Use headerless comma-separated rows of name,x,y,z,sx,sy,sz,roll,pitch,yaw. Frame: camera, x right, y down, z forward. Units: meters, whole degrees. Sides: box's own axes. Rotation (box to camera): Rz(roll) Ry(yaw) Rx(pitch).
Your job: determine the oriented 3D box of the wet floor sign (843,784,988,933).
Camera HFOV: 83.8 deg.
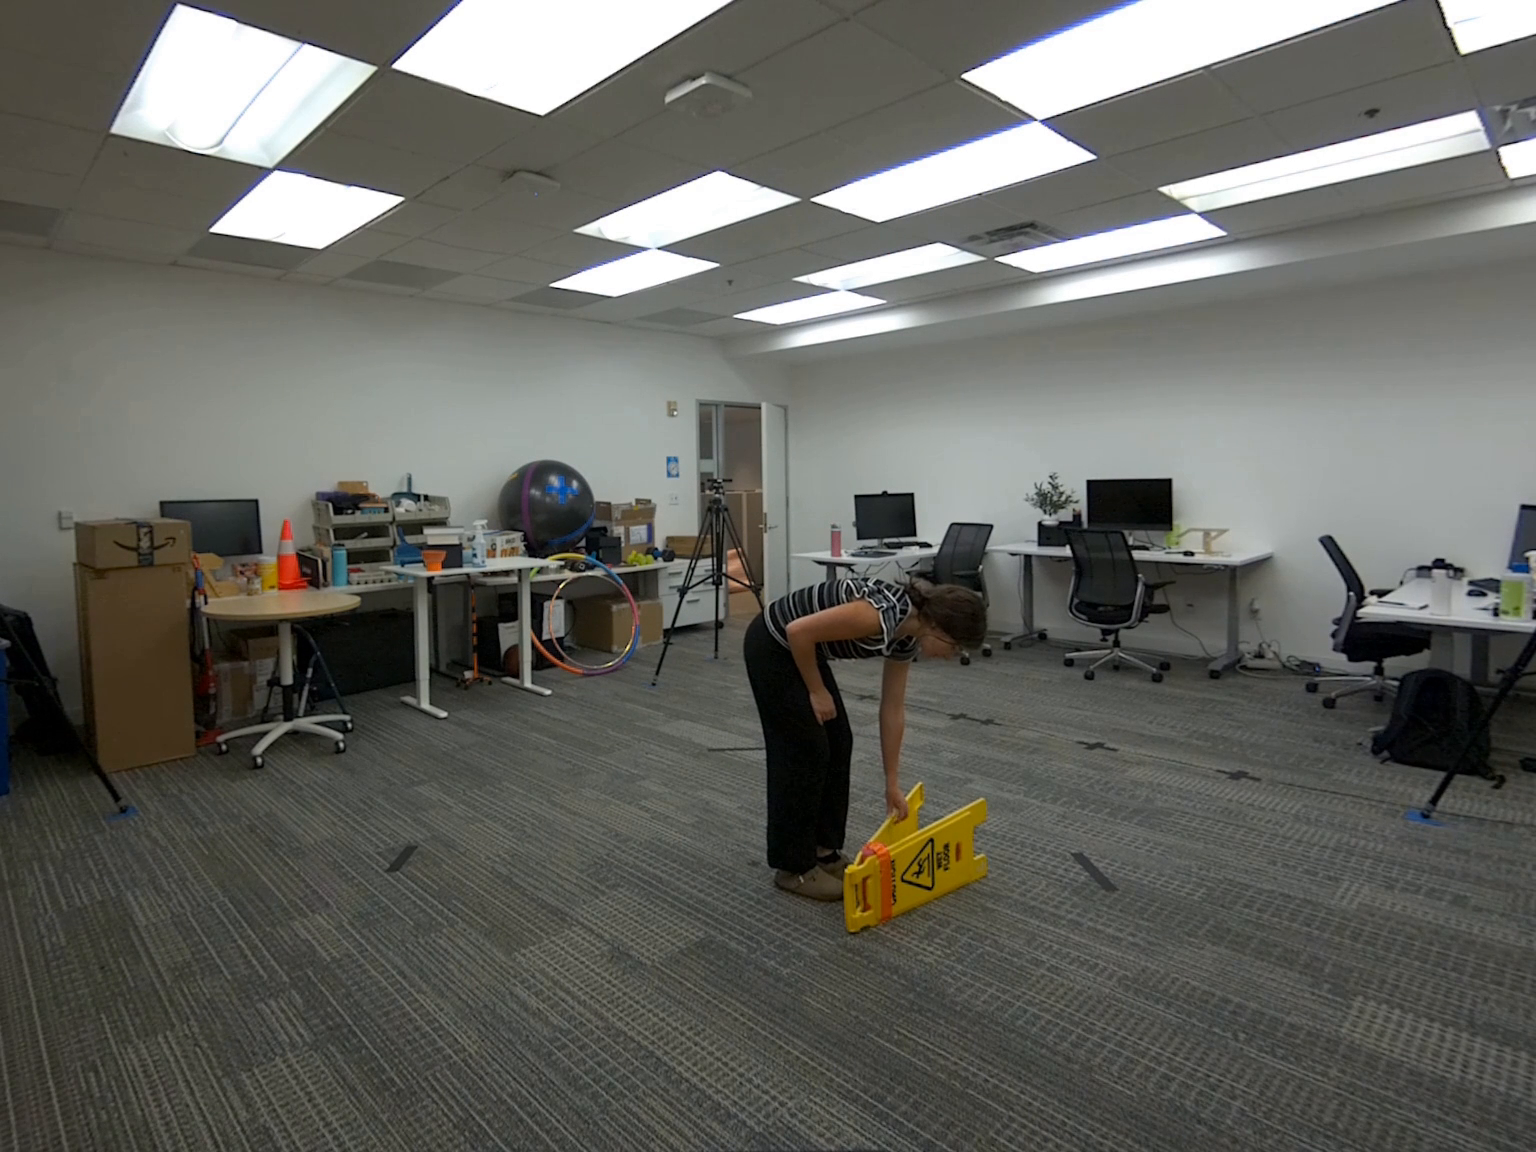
wet floor sign,0.459,0.943,2.820,0.298,0.280,0.631,4,11,41
